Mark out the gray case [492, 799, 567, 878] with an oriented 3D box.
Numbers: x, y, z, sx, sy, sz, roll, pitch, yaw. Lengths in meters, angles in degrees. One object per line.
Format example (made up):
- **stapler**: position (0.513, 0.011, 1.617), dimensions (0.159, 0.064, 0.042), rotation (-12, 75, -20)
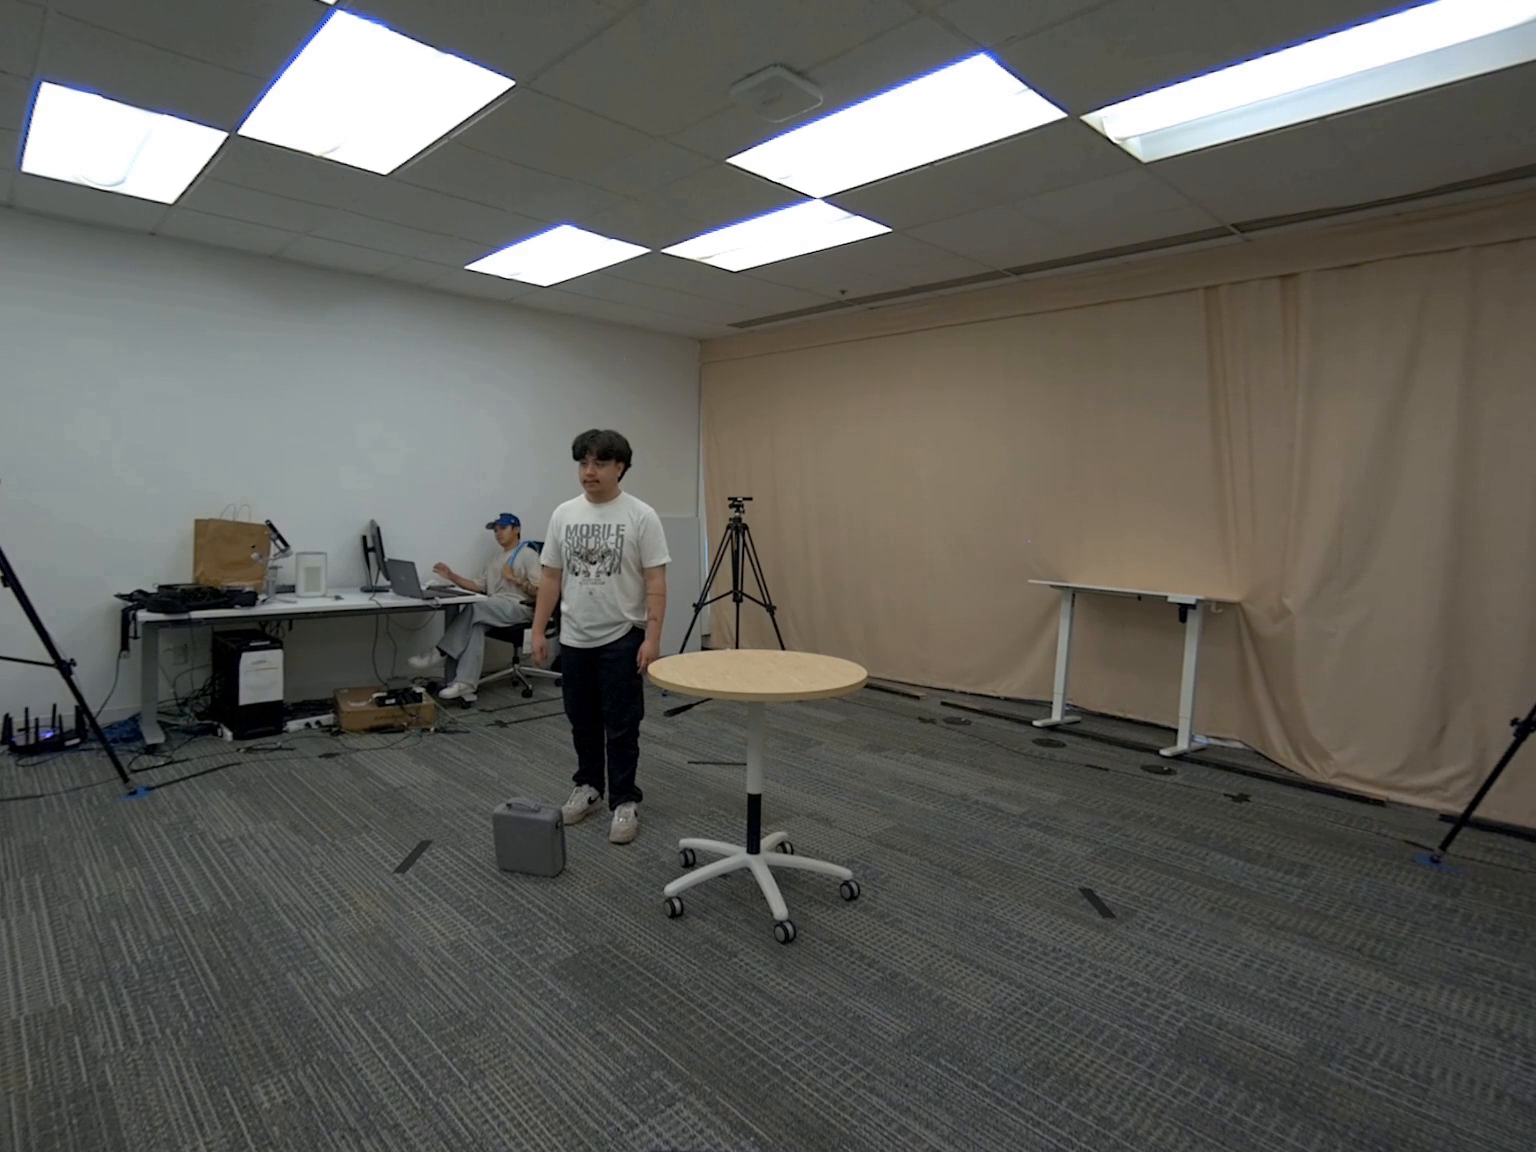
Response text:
- **gray case**: position (-0.892, 0.964, 3.098), dimensions (0.260, 0.258, 0.104), rotation (2, 14, 14)
